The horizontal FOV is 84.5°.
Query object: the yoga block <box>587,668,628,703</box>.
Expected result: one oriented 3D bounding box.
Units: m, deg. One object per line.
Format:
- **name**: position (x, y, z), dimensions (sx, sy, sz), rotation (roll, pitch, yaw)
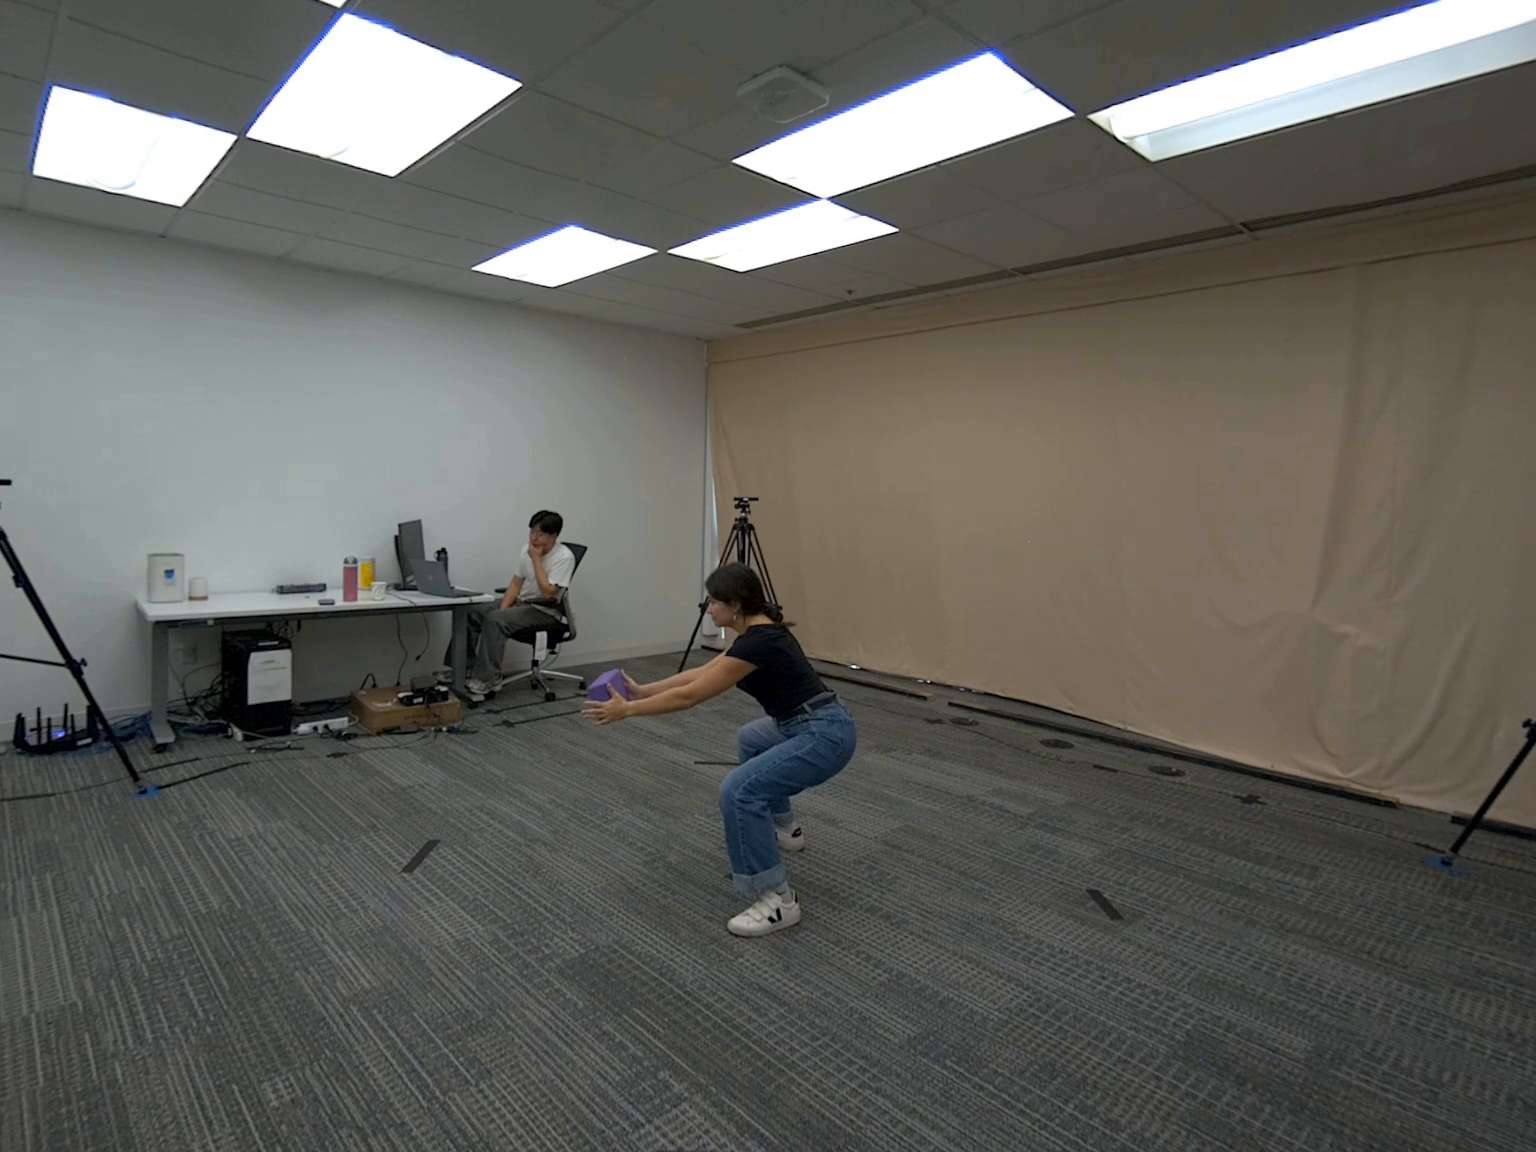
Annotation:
- **yoga block**: position (-0.598, 0.435, 3.156), dimensions (0.076, 0.148, 0.230), rotation (-16, 5, 3)
